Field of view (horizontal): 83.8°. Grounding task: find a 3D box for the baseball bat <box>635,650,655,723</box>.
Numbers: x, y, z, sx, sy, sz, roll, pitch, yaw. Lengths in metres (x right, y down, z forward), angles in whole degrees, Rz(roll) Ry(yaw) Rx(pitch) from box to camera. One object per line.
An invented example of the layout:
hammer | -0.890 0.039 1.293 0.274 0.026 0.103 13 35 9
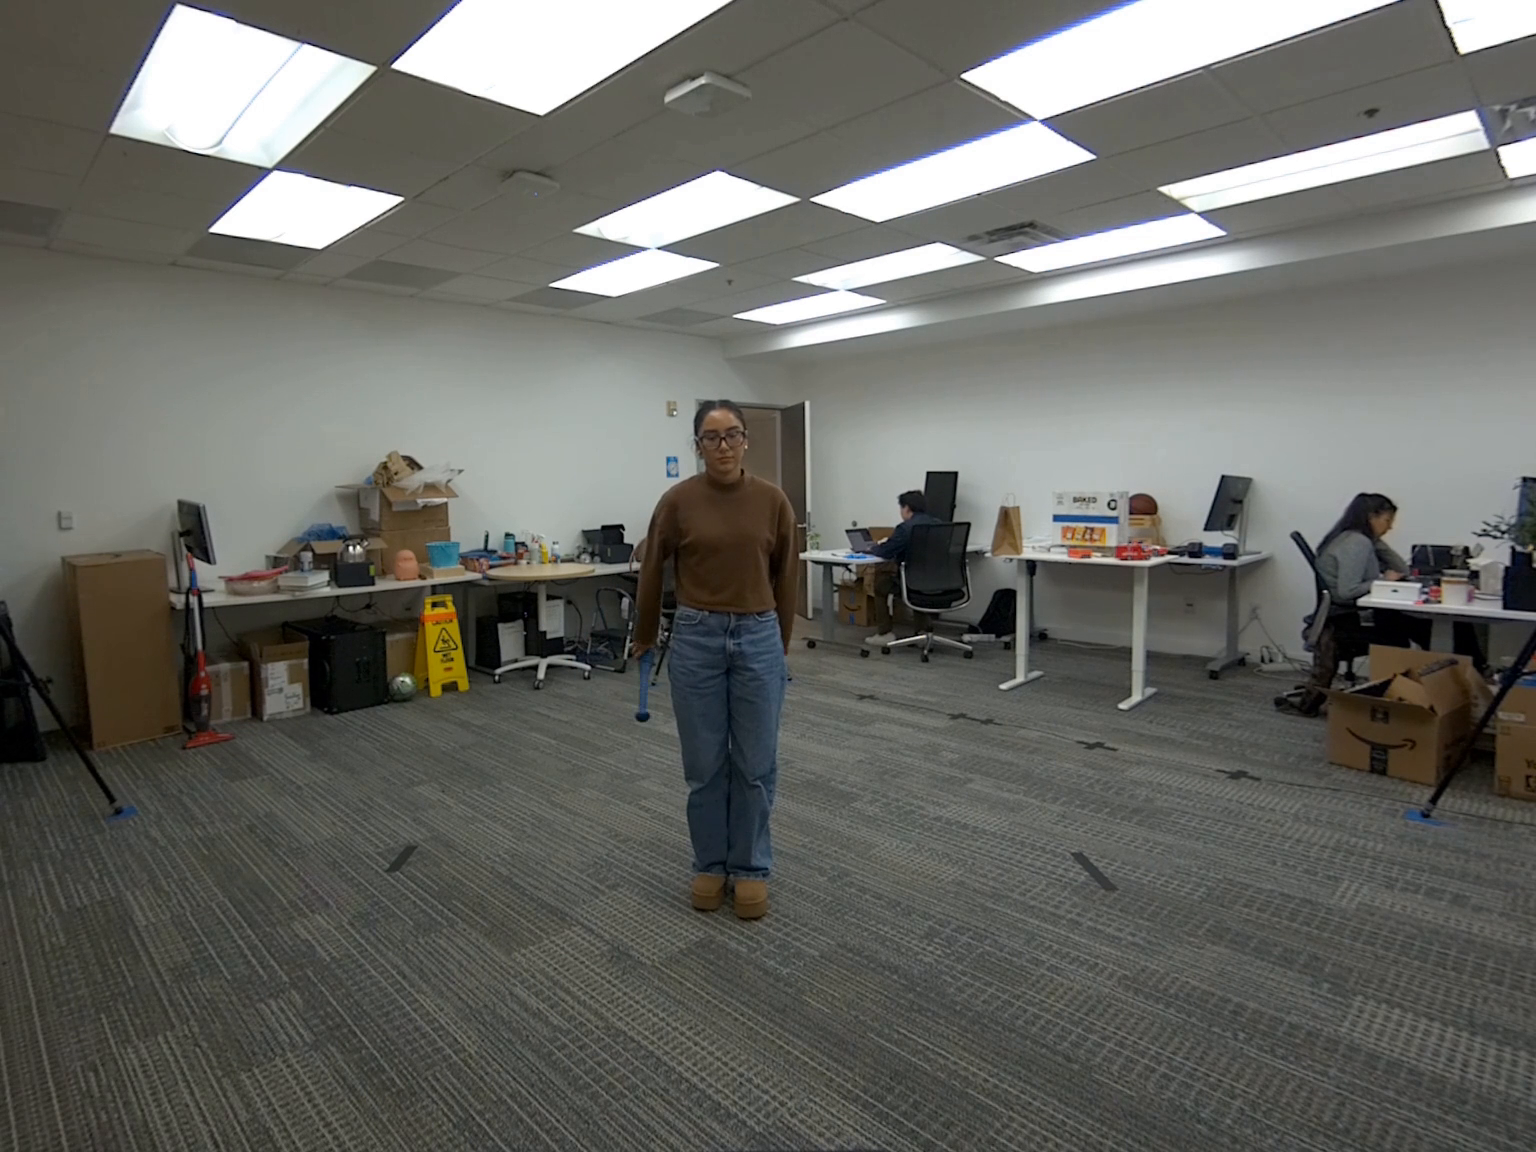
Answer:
baseball bat | -0.427 0.292 3.027 0.089 0.087 0.559 -2 40 -4
